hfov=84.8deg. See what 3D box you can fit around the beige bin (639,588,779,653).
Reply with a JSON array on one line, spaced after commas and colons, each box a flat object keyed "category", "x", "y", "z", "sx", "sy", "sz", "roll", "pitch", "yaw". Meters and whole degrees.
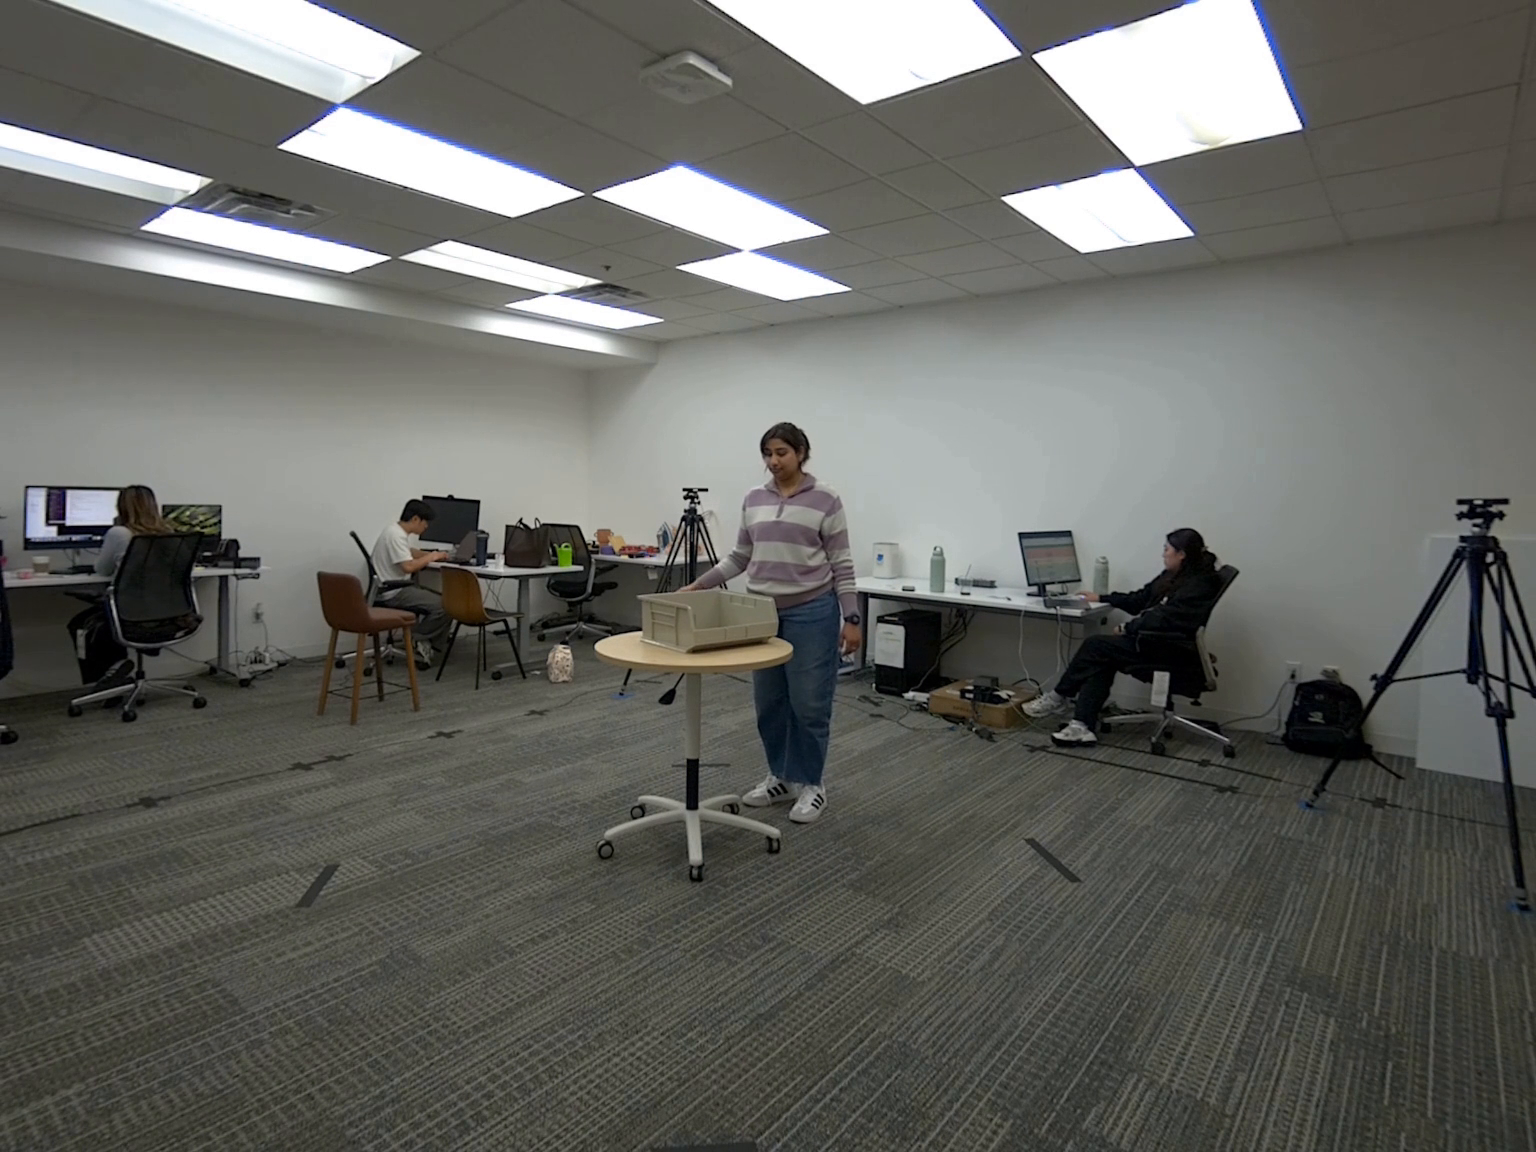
[{"category": "beige bin", "x": -0.250, "y": 0.171, "z": 3.358, "sx": 0.410, "sy": 0.188, "sz": 0.390, "roll": -4, "pitch": 6, "yaw": -39}]
